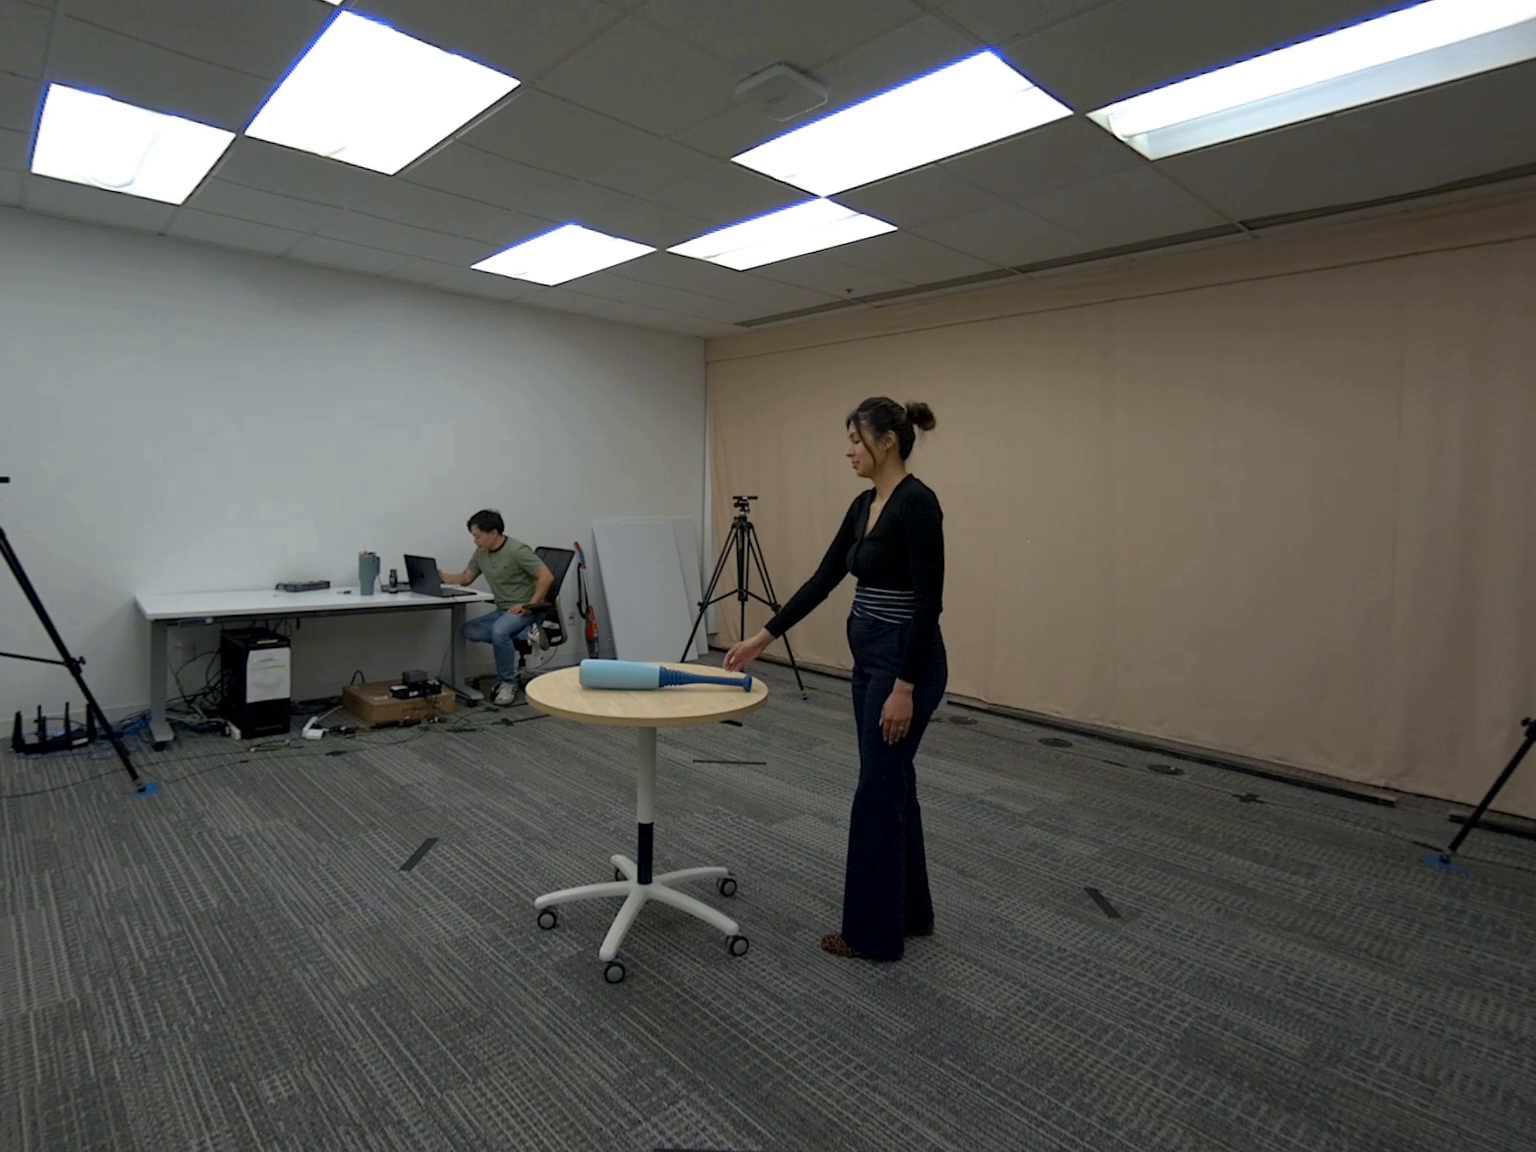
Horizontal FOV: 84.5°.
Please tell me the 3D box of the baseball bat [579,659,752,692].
[{"bbox_3d":[-0.322,0.320,2.645,0.542,0.089,0.089,4,4,-3],"label":"baseball bat"}]
